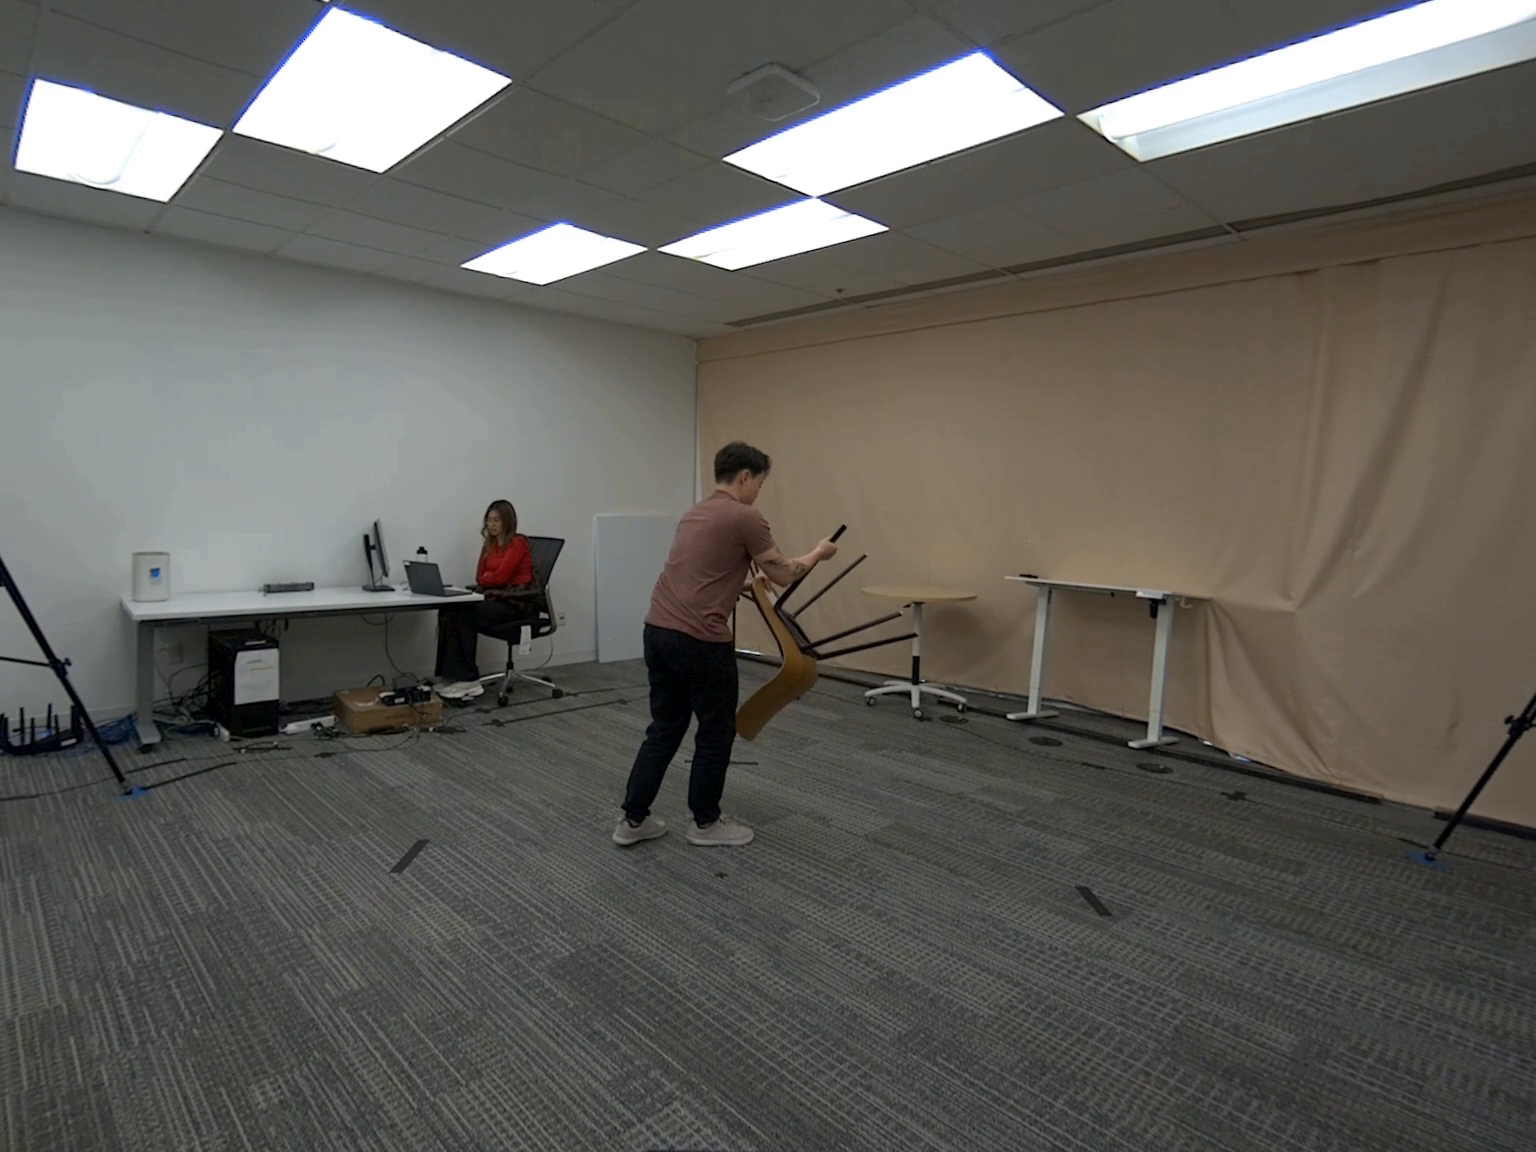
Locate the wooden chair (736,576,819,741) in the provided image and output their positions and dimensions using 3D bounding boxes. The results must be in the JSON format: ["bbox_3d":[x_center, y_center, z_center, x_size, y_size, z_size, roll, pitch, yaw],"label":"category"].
[{"bbox_3d":[0.120,0.248,3.647,0.878,0.536,0.466,-37,-24,5],"label":"wooden chair"}]
